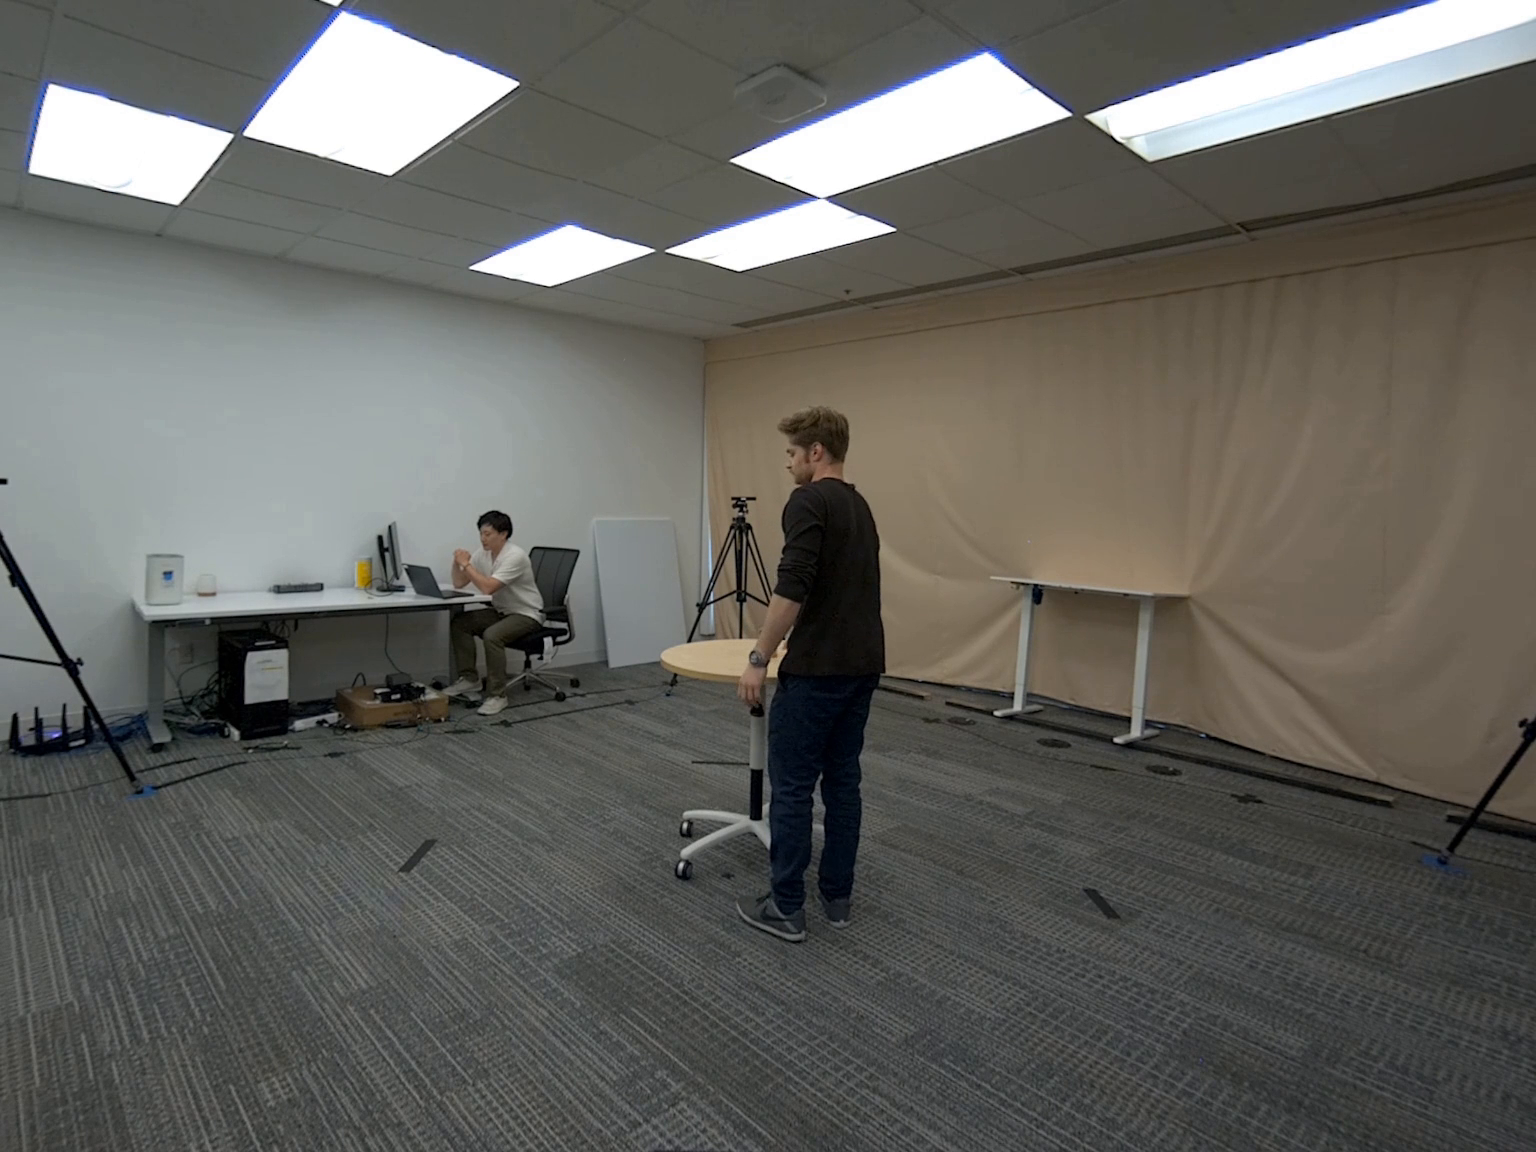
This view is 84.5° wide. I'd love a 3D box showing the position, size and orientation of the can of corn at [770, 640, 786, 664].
[{"bbox_3d":[0.005,0.261,3.261,0.074,0.110,0.074,4,5,-2],"label":"can of corn"}]
